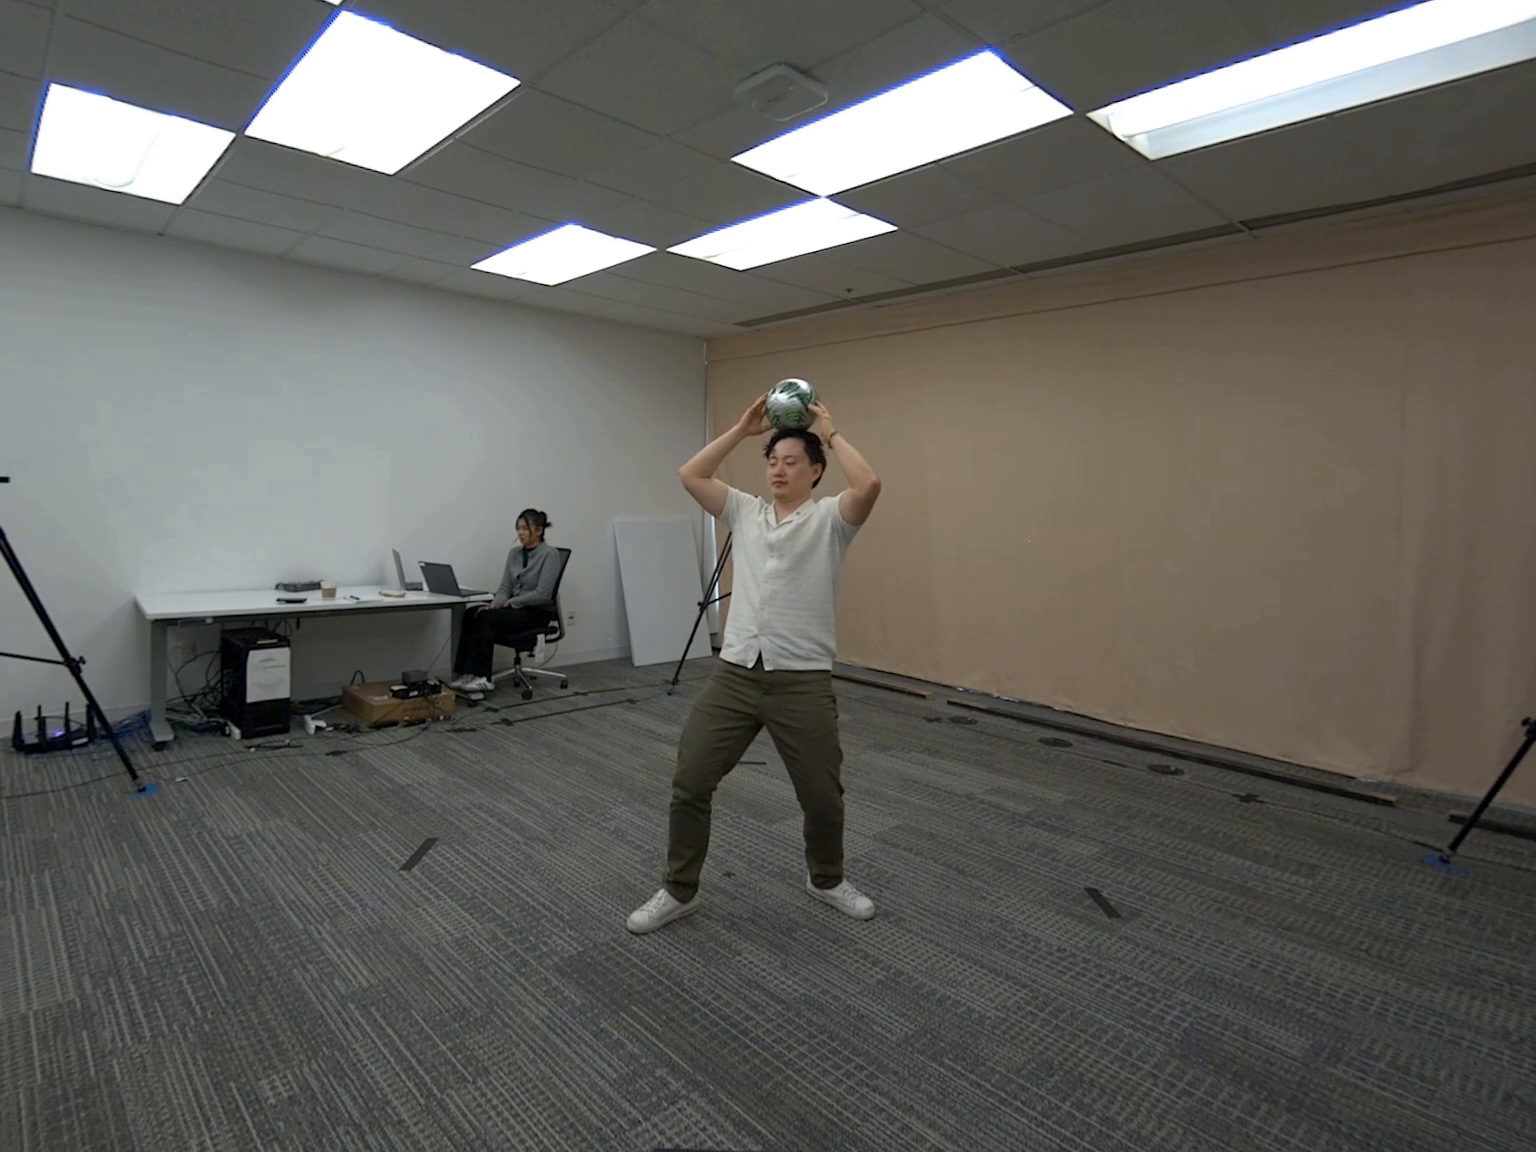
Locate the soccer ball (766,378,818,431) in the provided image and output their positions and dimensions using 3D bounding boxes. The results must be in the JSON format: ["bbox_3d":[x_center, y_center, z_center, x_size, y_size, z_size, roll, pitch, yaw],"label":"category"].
[{"bbox_3d":[0.083,-0.578,2.860,0.187,0.187,0.188,1,4,-1],"label":"soccer ball"}]
